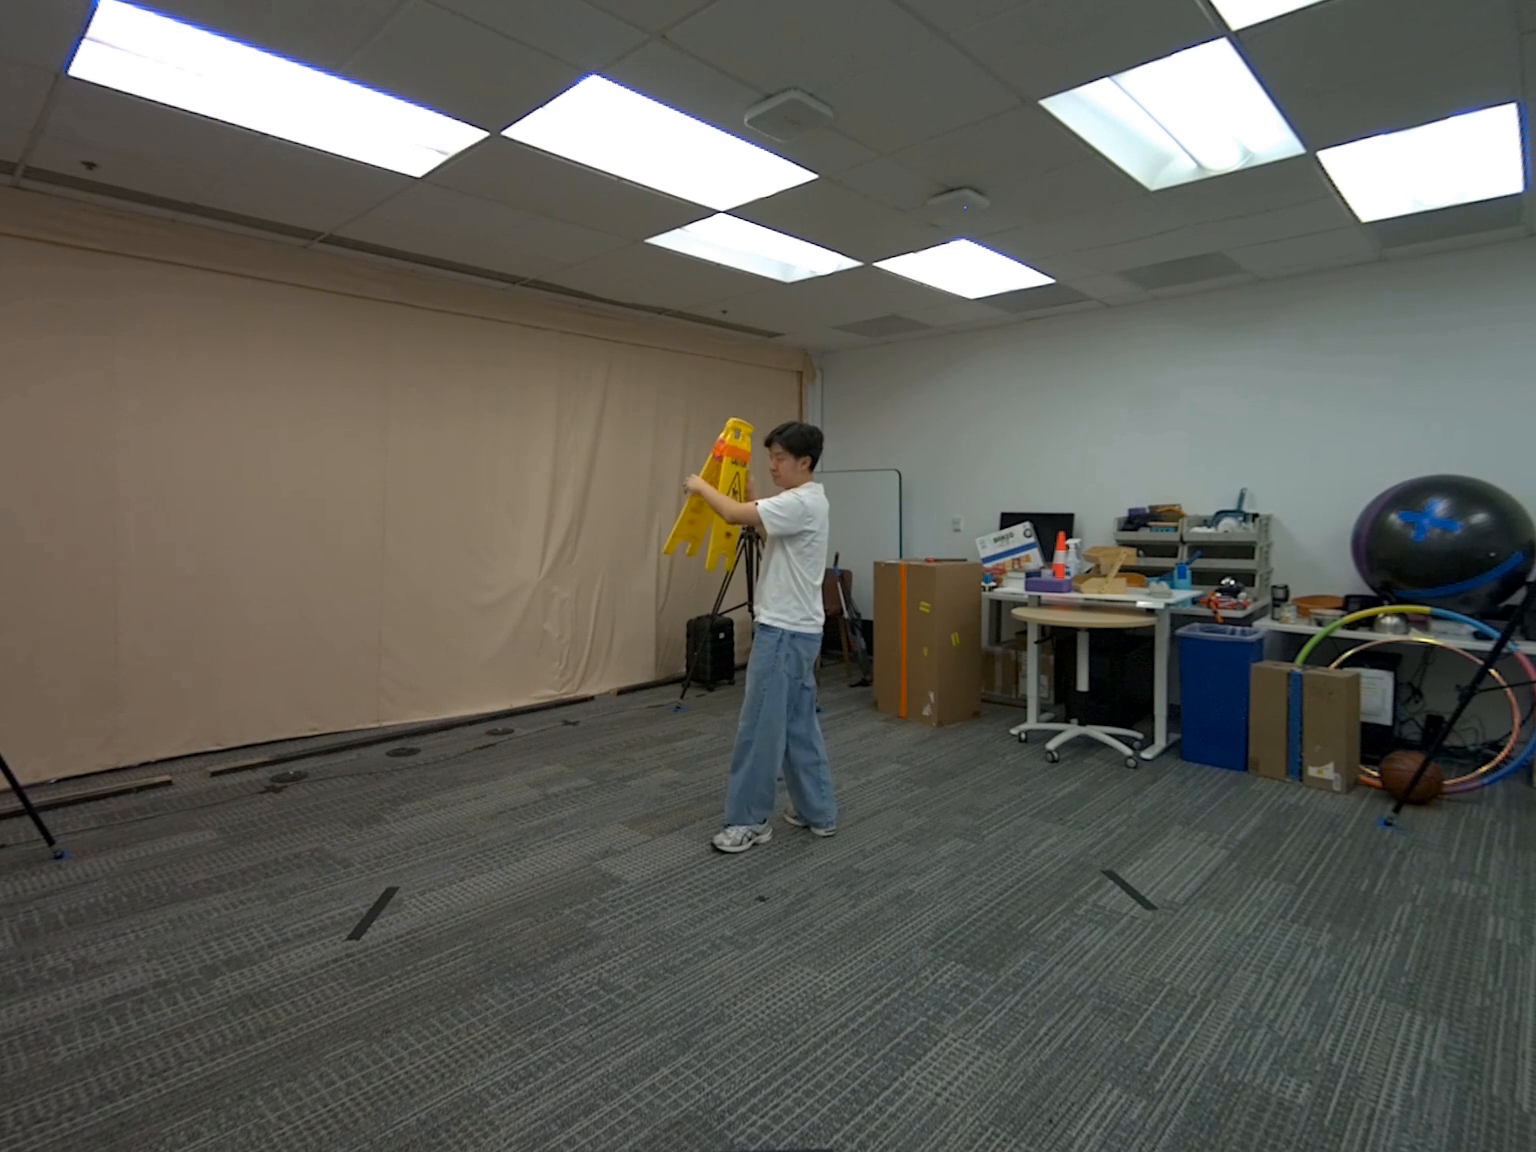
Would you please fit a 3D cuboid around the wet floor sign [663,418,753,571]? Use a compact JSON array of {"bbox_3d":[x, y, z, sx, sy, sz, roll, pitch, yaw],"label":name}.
[{"bbox_3d":[-0.197,-0.365,3.703,0.298,0.645,0.275,20,7,24],"label":"wet floor sign"}]
